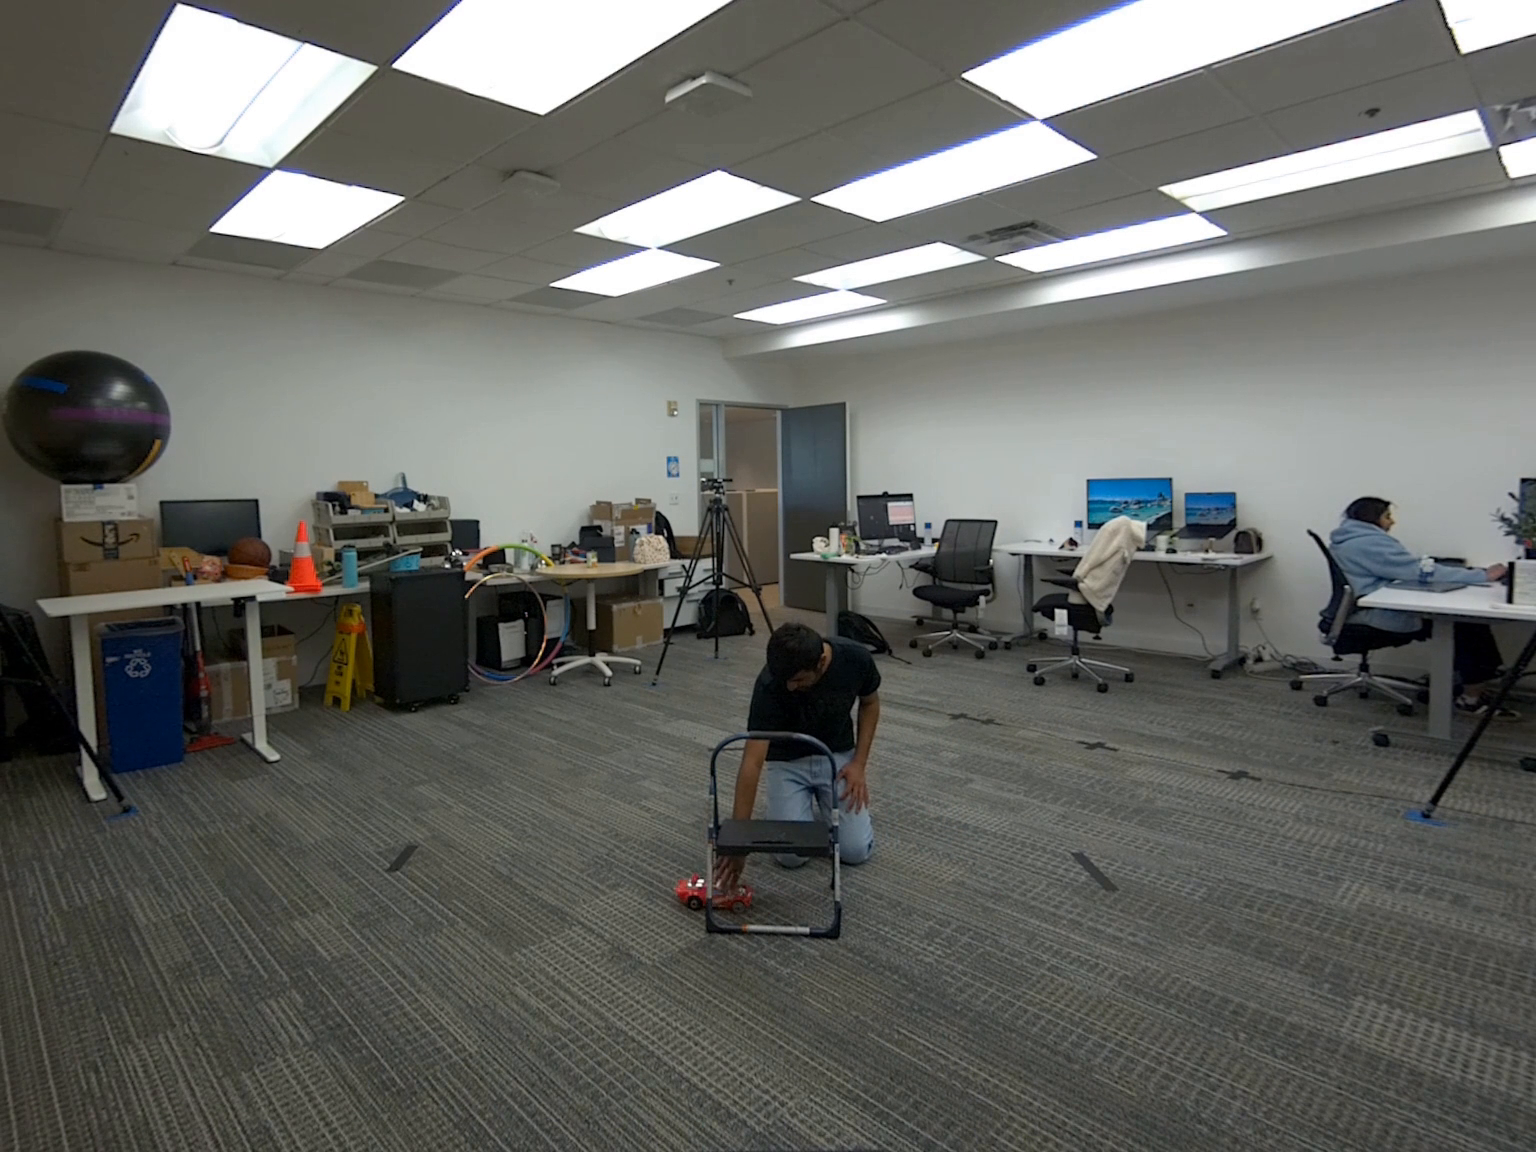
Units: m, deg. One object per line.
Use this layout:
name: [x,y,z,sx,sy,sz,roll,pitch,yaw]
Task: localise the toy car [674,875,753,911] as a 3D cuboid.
toy car: [-0.174,1.052,2.813,0.256,0.083,0.130,11,6,6]
